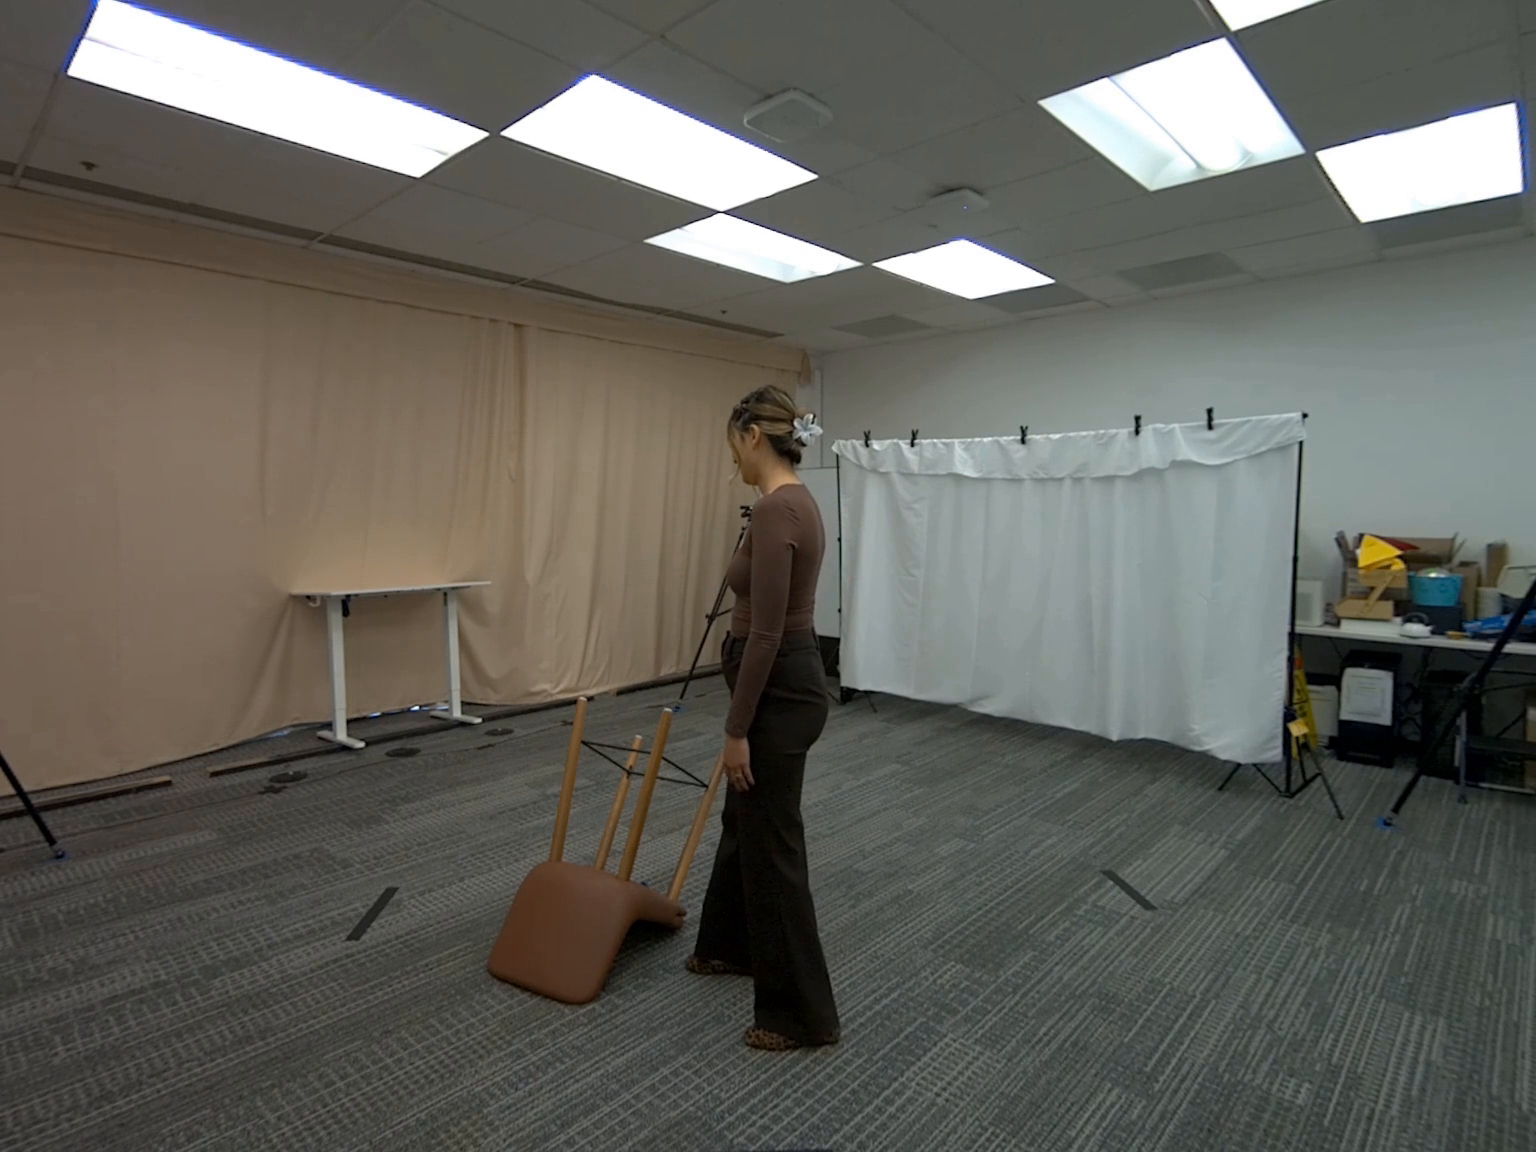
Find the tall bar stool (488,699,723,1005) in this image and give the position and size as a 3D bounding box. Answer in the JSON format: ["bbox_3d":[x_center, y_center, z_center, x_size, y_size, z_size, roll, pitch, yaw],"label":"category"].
[{"bbox_3d":[-0.501,0.914,2.779,0.469,0.896,0.452,1,-30,27],"label":"tall bar stool"}]
